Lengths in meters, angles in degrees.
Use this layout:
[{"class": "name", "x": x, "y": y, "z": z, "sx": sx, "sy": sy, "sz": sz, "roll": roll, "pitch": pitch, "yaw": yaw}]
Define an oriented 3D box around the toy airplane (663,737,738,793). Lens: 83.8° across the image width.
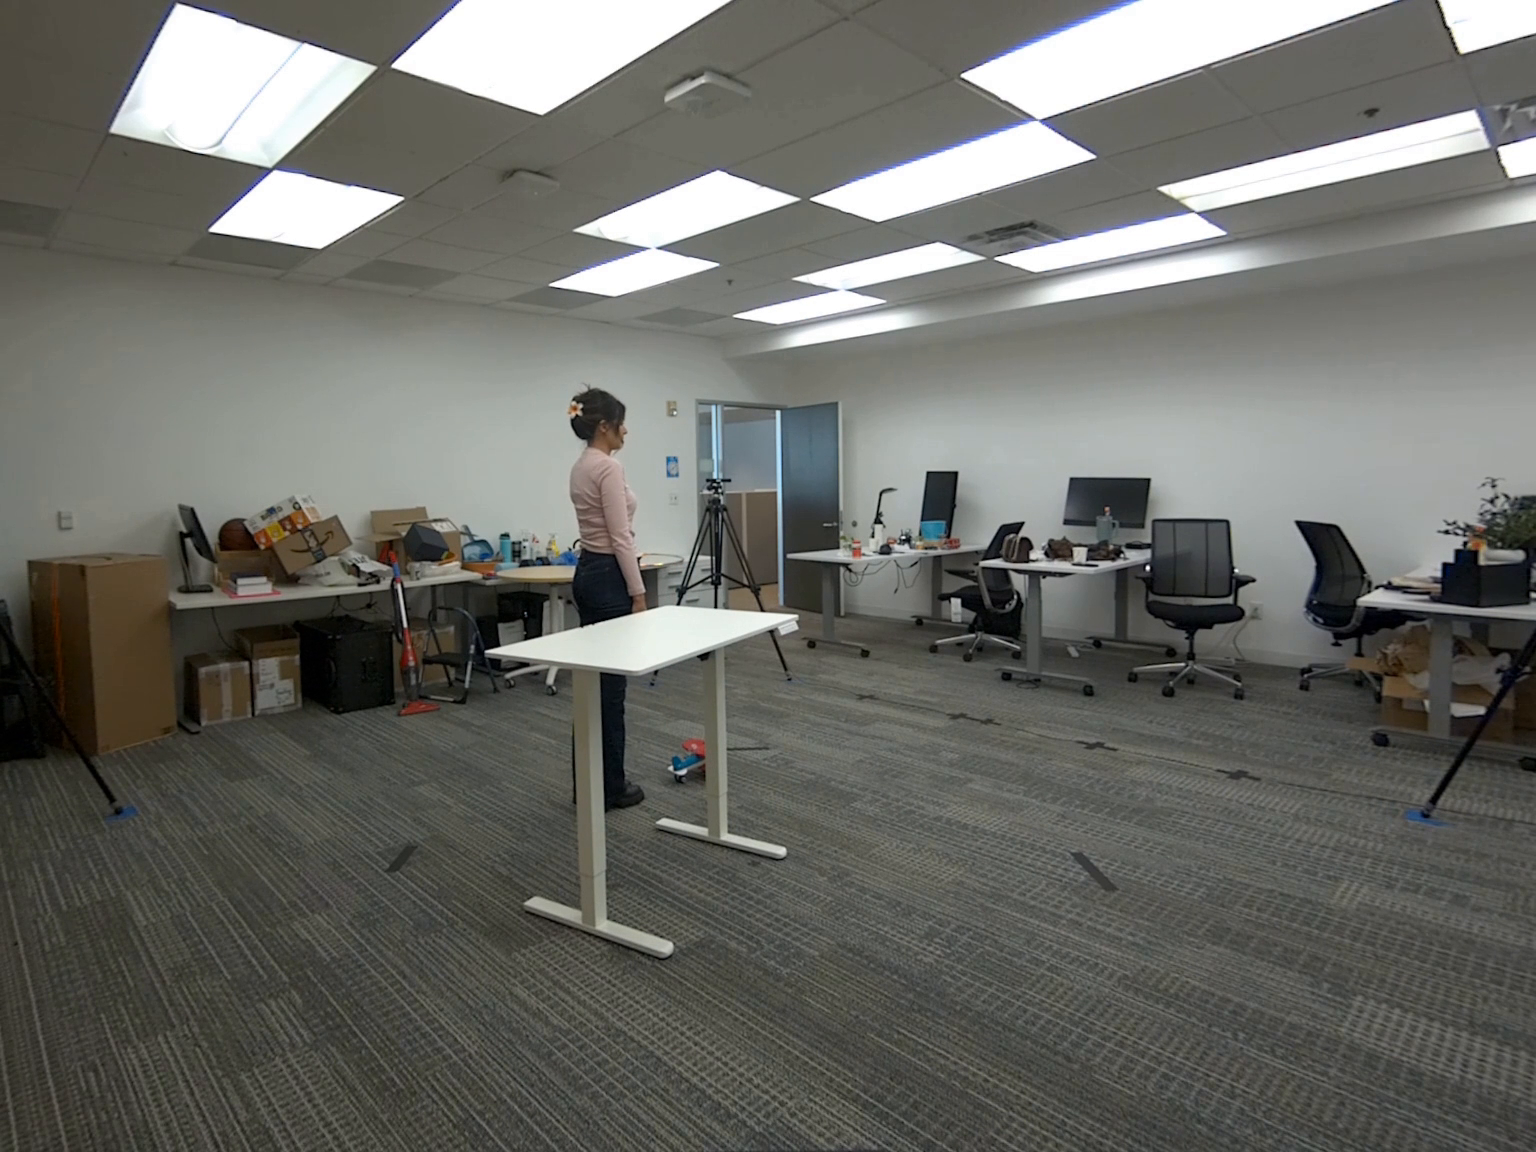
[{"class": "toy airplane", "x": -0.316, "y": 0.877, "z": 4.010, "sx": 0.257, "sy": 0.156, "sz": 0.254, "roll": 2, "pitch": 5, "yaw": 24}]
